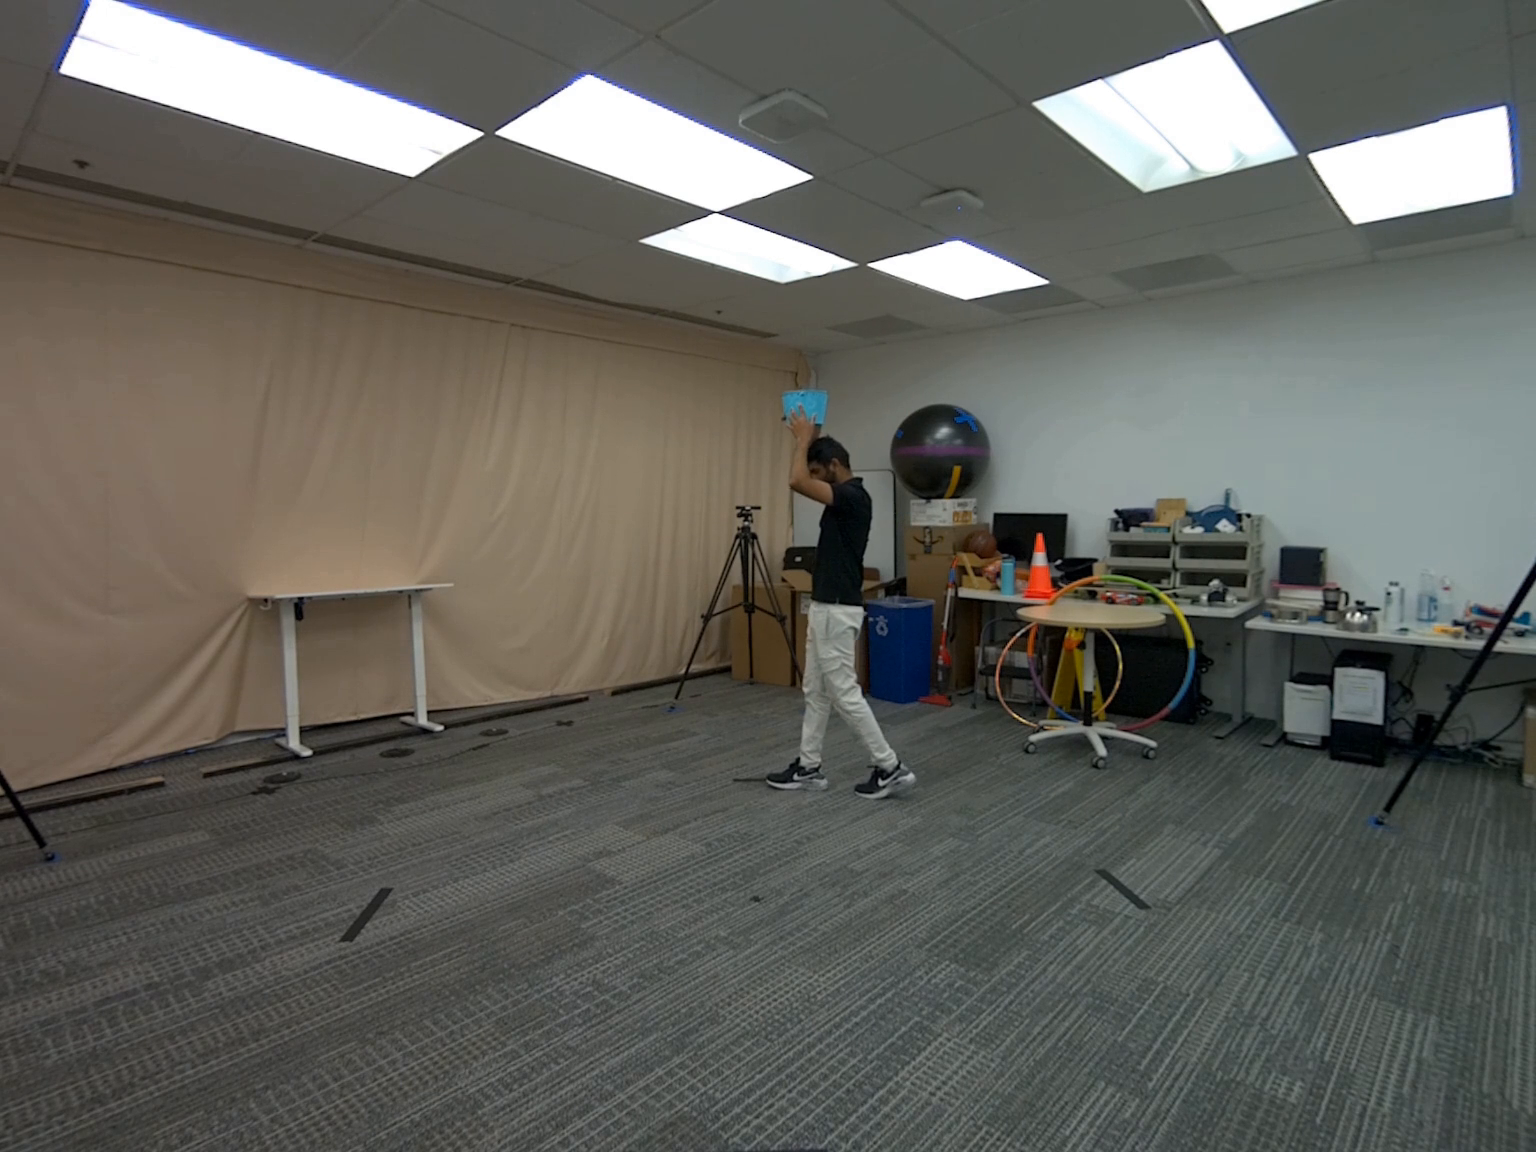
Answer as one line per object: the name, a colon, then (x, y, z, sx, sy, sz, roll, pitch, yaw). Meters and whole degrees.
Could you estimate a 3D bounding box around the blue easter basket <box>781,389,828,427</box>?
blue easter basket: (0.180, -0.806, 4.086, 0.243, 0.156, 0.244, 0, 0, -2)
